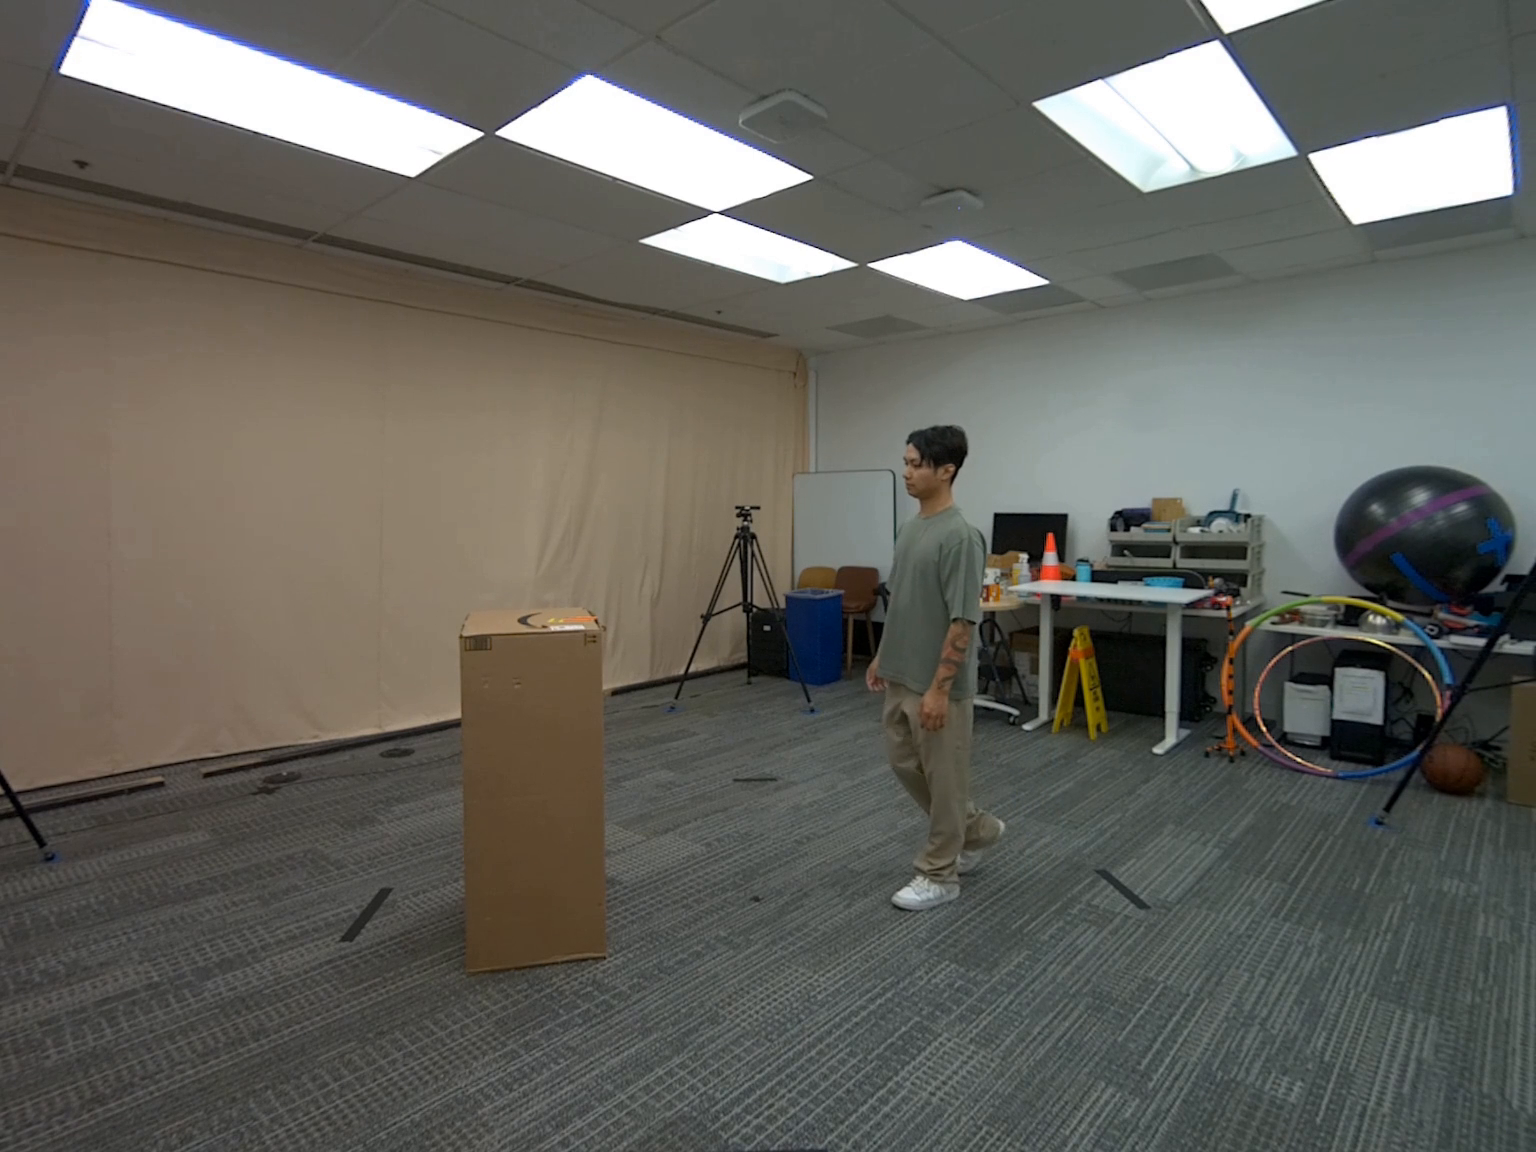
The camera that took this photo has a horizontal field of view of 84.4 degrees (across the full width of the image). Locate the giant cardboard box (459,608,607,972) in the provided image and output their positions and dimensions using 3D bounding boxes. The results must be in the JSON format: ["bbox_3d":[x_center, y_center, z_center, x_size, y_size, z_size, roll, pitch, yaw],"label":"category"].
[{"bbox_3d":[-0.787,0.659,2.810,0.419,1.024,0.588,-1,3,-17],"label":"giant cardboard box"}]
